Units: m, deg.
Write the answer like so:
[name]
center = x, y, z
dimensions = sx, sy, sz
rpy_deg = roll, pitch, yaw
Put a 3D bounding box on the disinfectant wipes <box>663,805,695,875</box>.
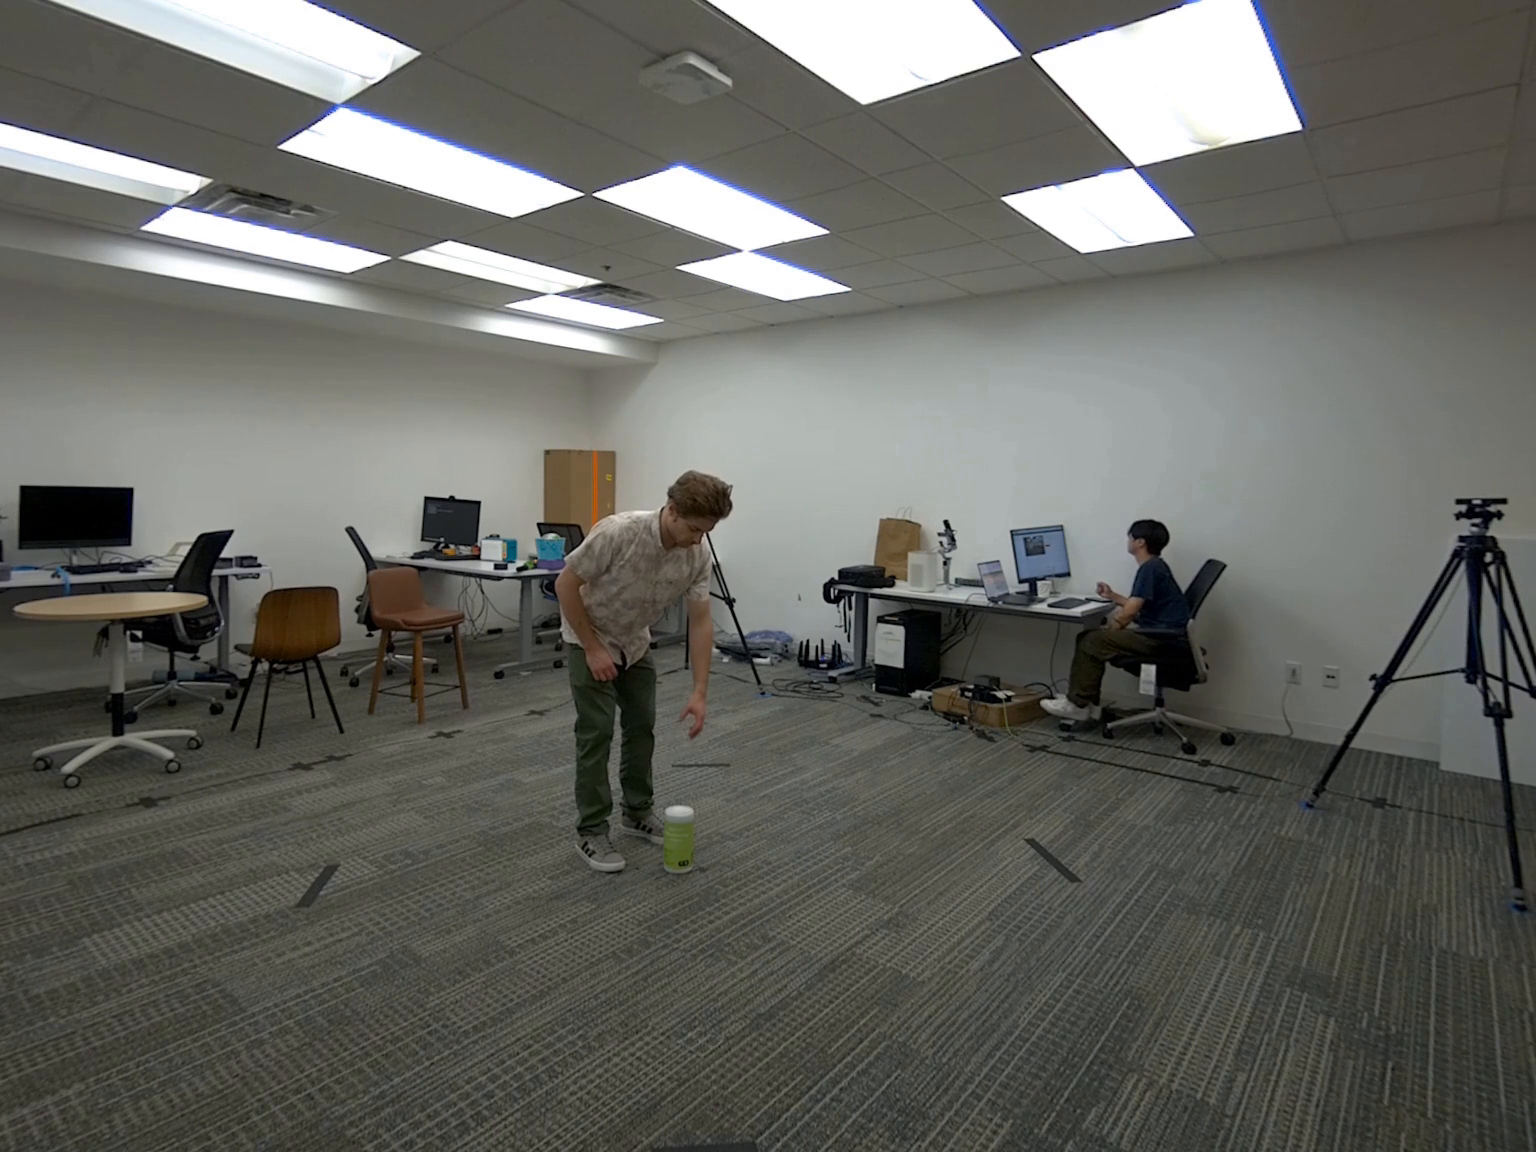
[disinfectant wipes]
center = -0.337, 0.962, 3.111
dimensions = 0.118, 0.217, 0.118
rpy_deg = 1, 2, -2
